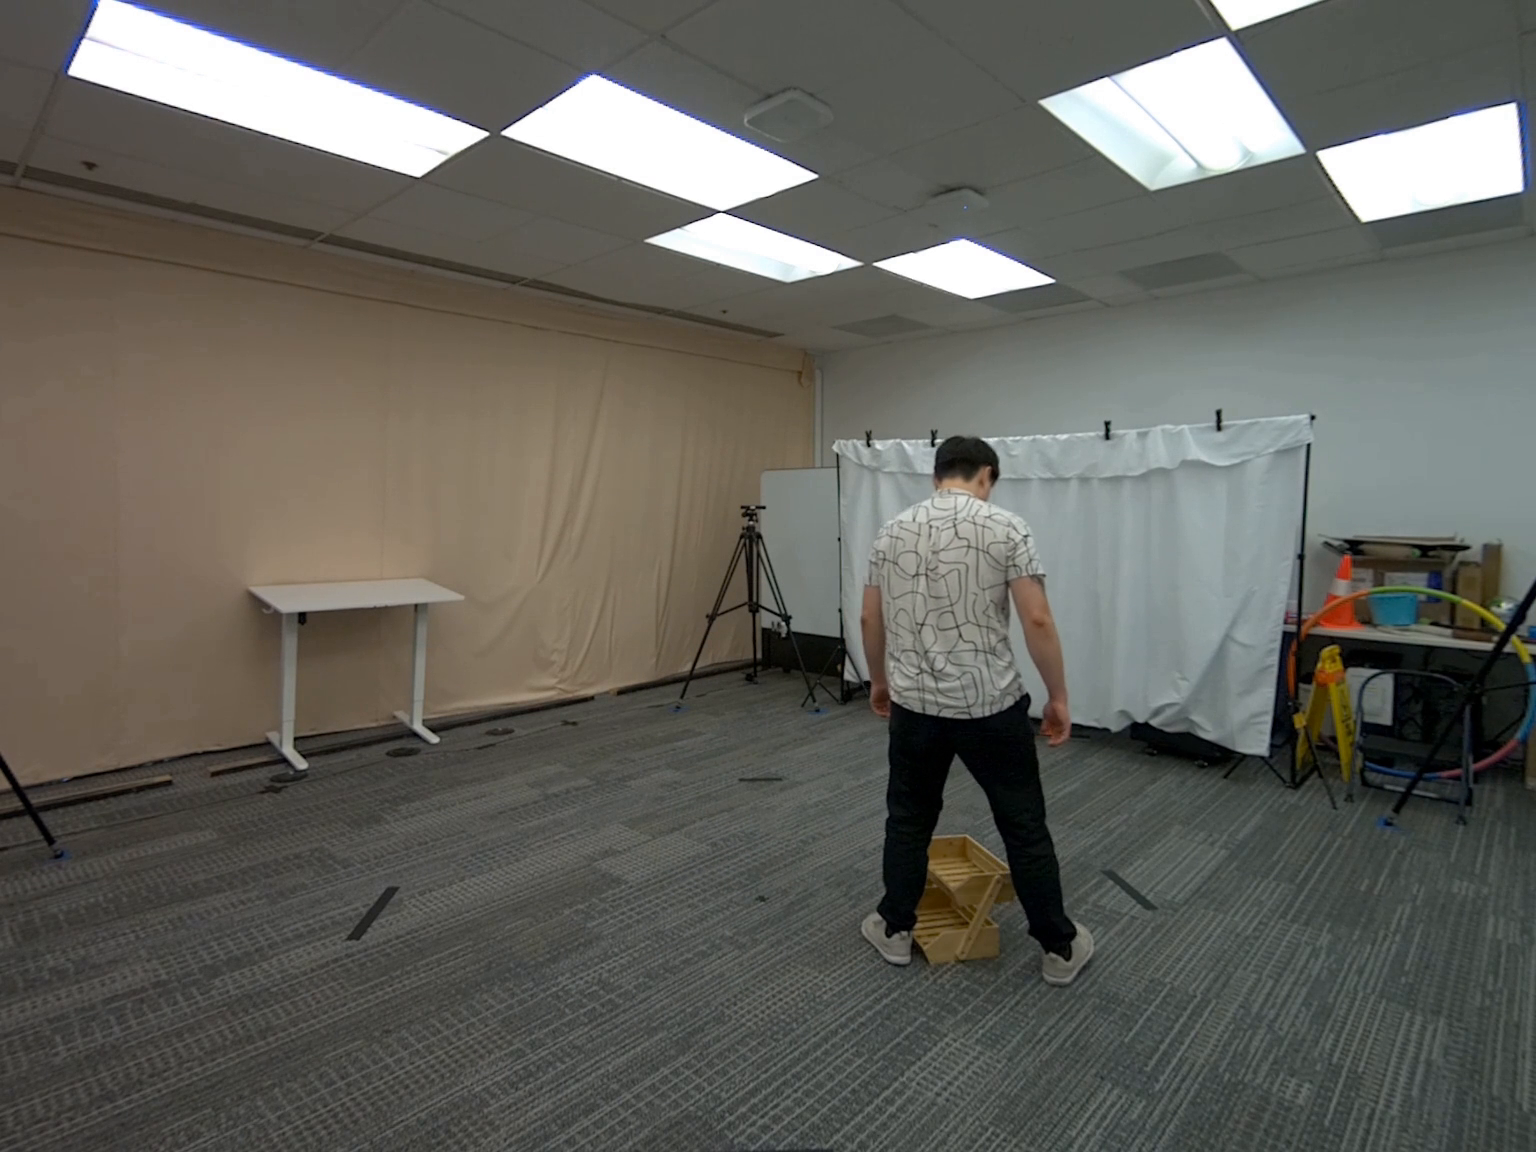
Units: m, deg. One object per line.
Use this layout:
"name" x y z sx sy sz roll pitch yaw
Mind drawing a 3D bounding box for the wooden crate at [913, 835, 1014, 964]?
"wooden crate" 0.578 1.029 2.716 0.297 0.273 0.330 -1 4 -15
